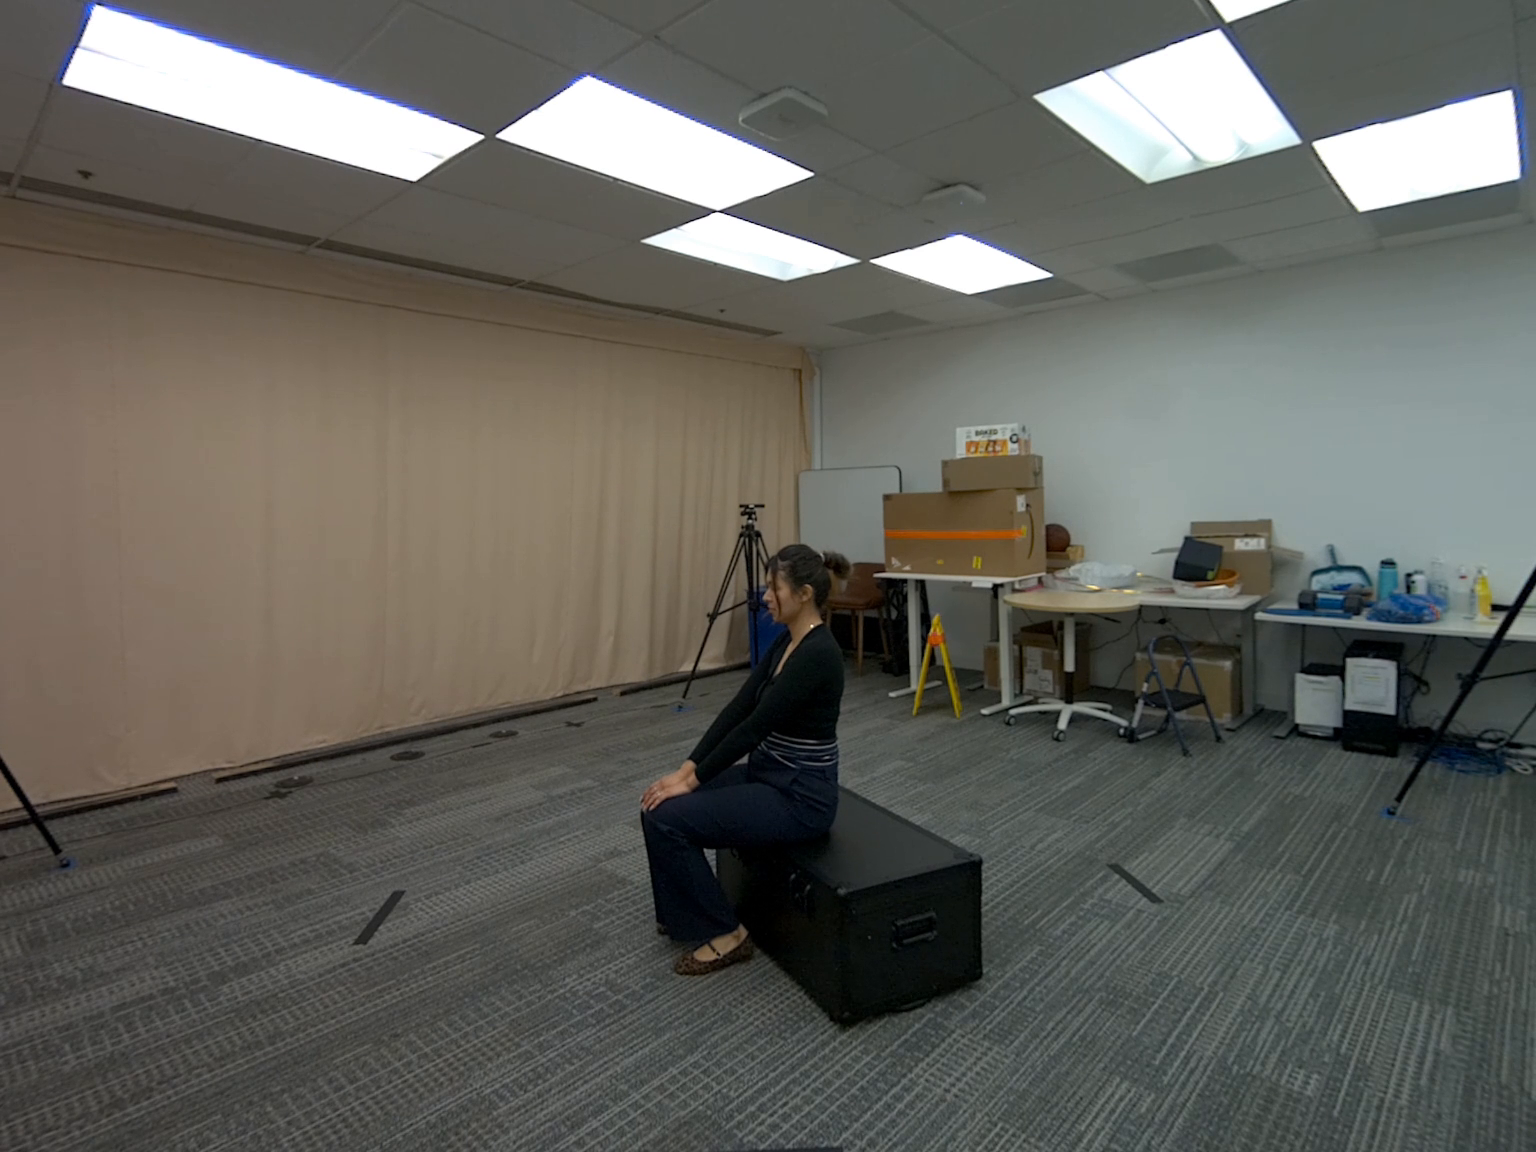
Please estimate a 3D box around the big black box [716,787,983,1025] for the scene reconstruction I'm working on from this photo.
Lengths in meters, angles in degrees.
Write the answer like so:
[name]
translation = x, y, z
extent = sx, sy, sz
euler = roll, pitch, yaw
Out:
[big black box]
translation = 0.234, 0.977, 2.622
extent = 0.508, 0.395, 0.885
euler = -3, 5, -28
